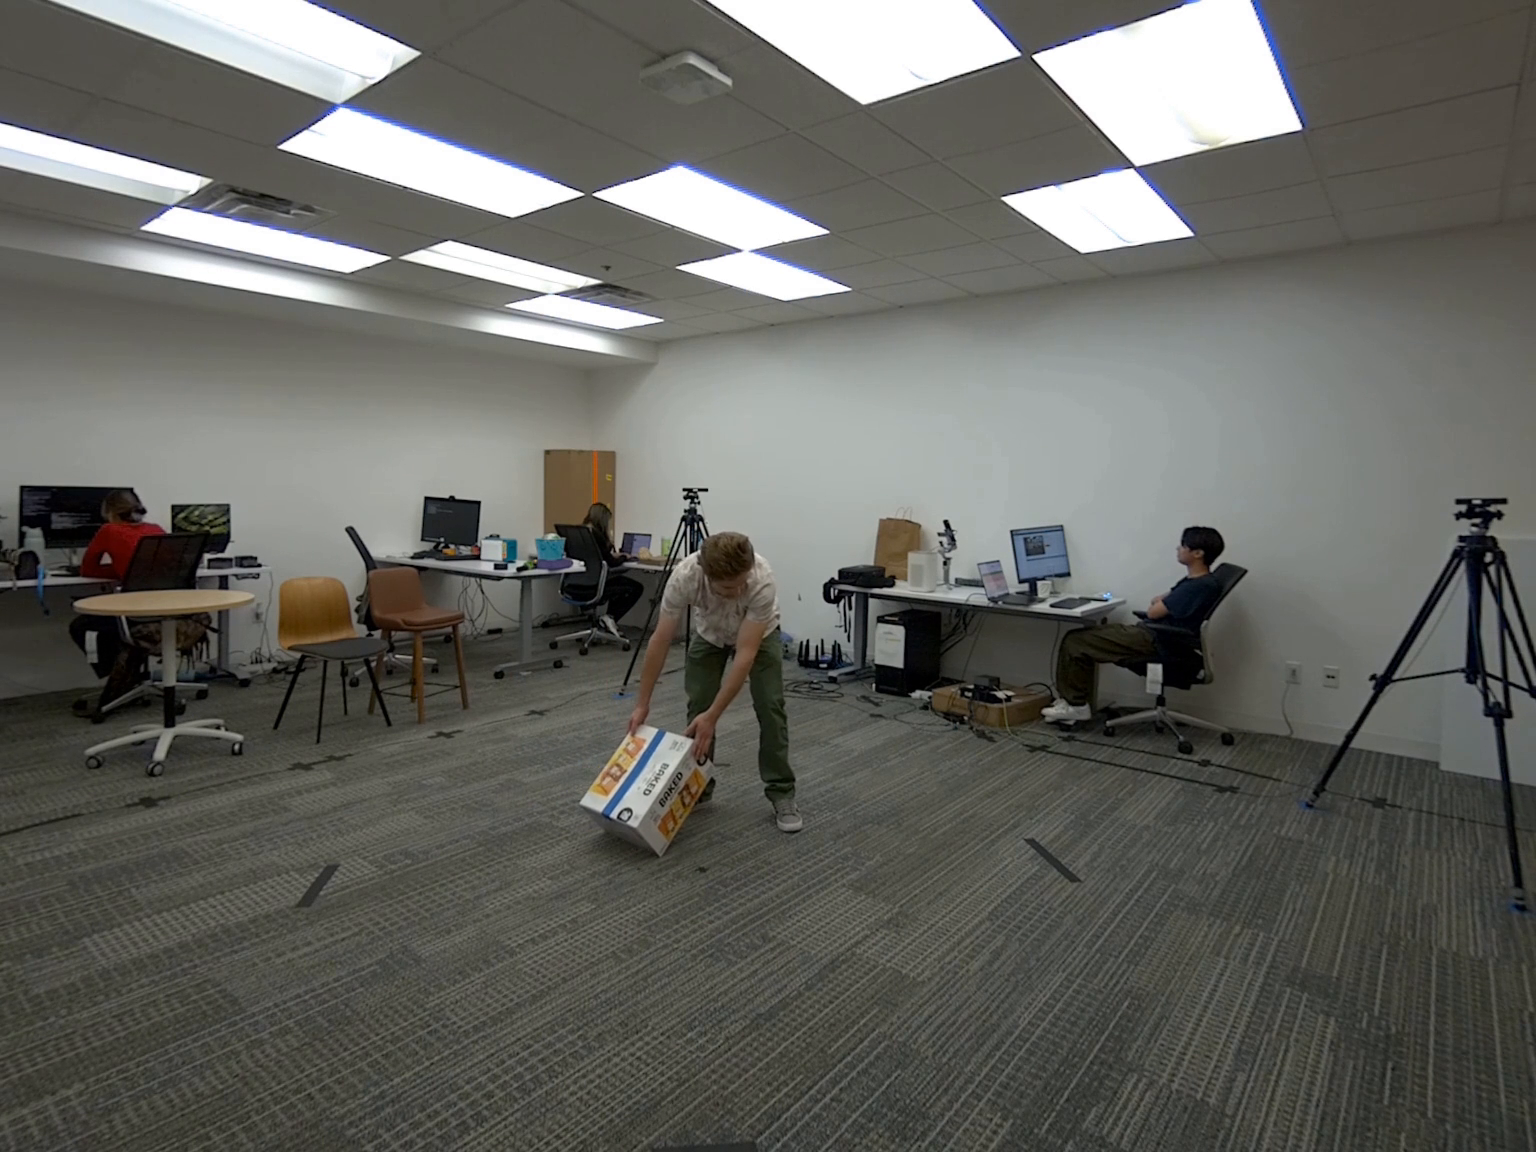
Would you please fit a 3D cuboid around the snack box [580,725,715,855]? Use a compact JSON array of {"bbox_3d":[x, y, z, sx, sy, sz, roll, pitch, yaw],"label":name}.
[{"bbox_3d":[-0.482,0.834,3.373,0.352,0.198,0.407,4,47,41],"label":"snack box"}]
